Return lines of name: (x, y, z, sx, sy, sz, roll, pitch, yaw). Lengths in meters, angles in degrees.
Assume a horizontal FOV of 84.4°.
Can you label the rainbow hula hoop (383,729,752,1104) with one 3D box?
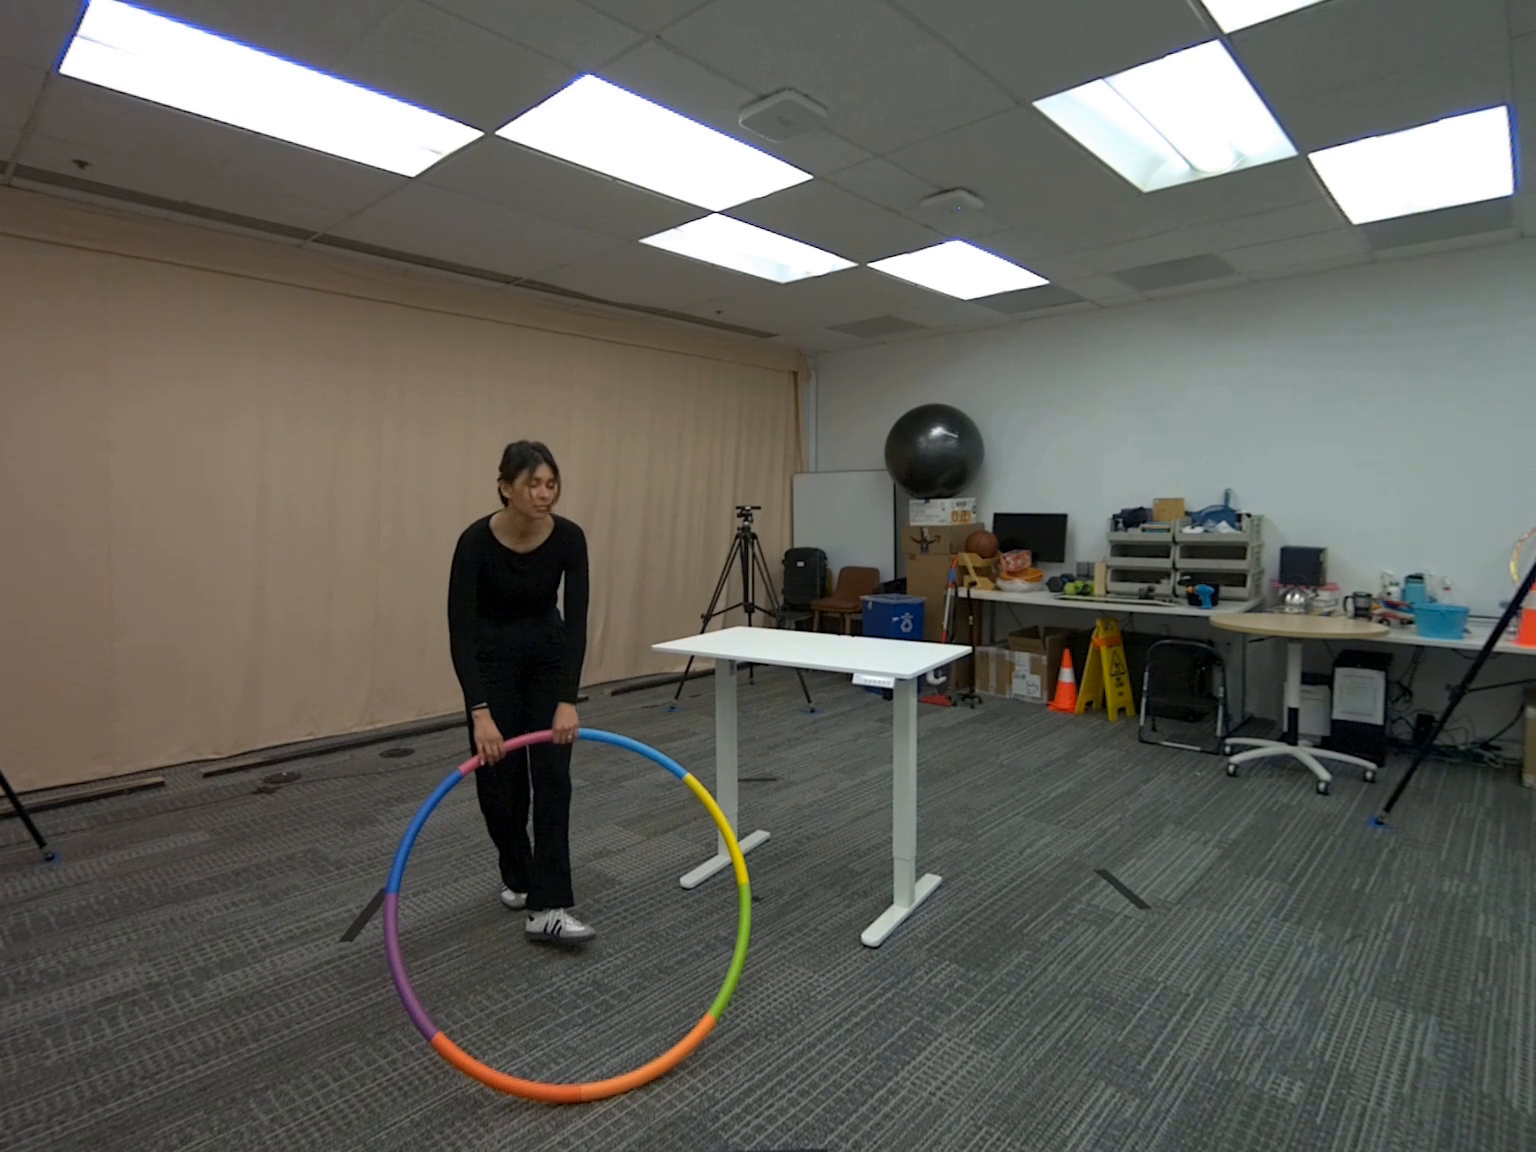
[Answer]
rainbow hula hoop: (-0.502, 0.857, 2.290, 0.966, 0.035, 0.998, 9, 45, -11)
